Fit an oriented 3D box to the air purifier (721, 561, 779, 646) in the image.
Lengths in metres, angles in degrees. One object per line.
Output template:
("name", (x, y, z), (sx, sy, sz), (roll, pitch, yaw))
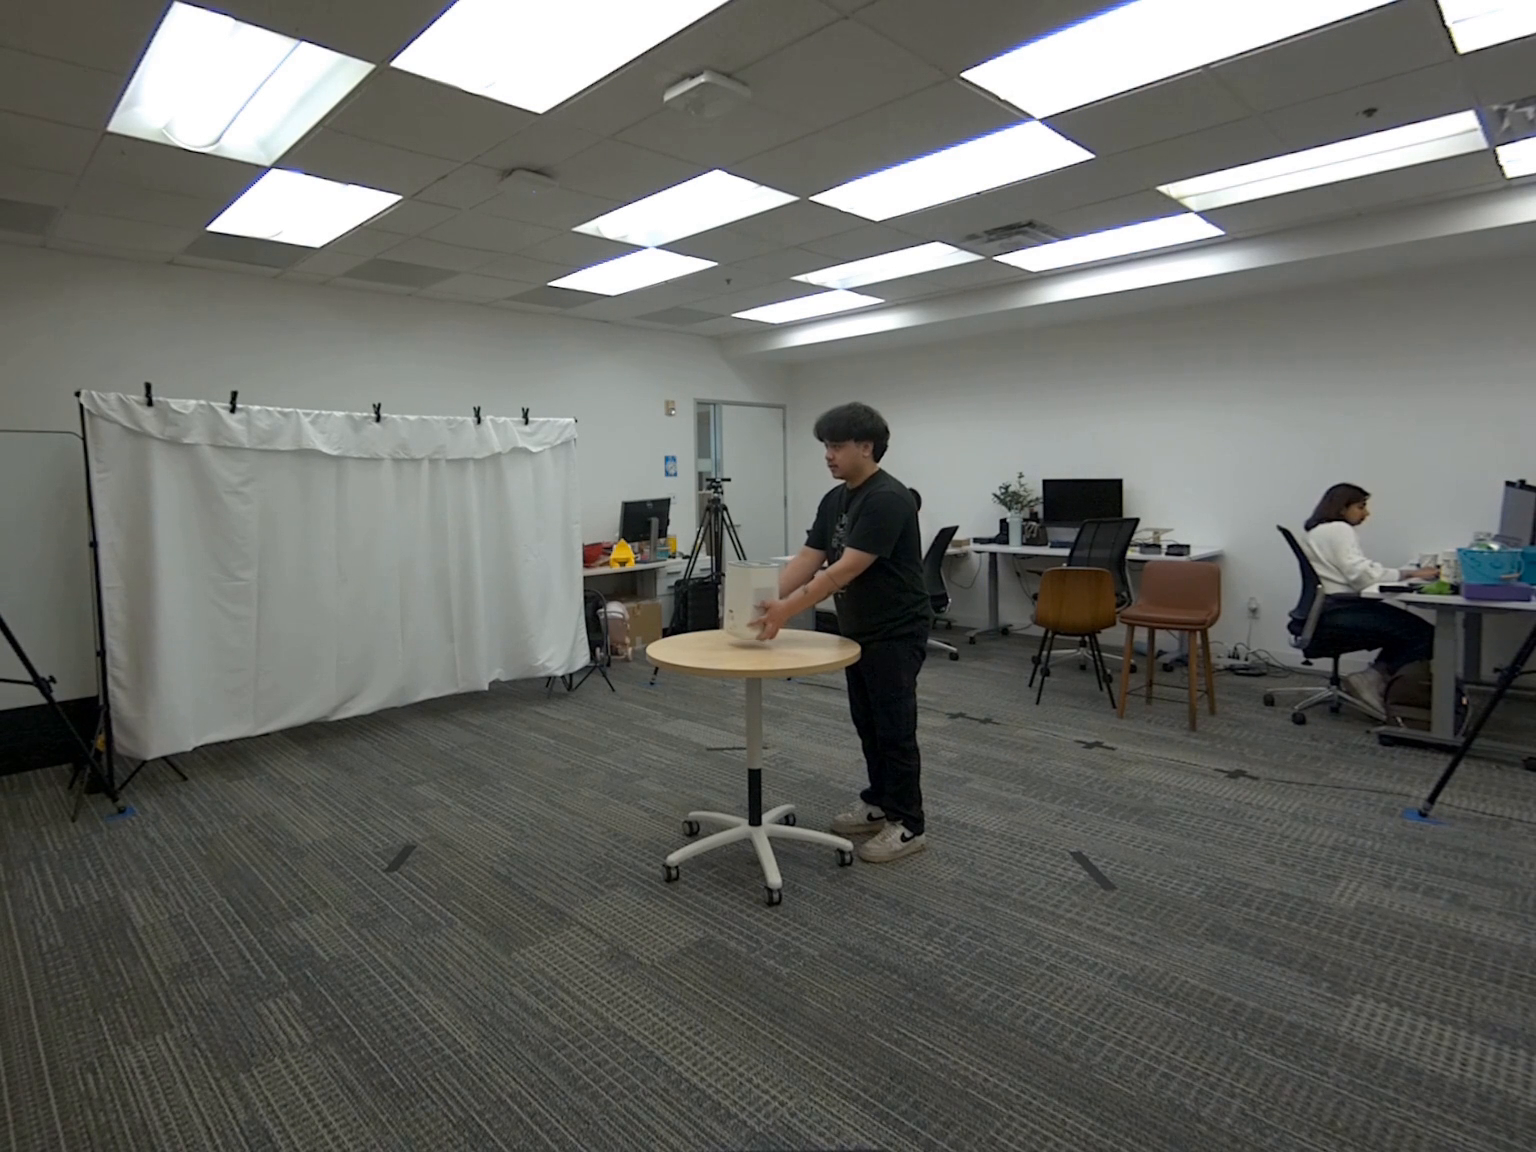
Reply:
("air purifier", (-0.054, 0.077, 3.078), (0.167, 0.264, 0.176), (-1, 5, -35))
